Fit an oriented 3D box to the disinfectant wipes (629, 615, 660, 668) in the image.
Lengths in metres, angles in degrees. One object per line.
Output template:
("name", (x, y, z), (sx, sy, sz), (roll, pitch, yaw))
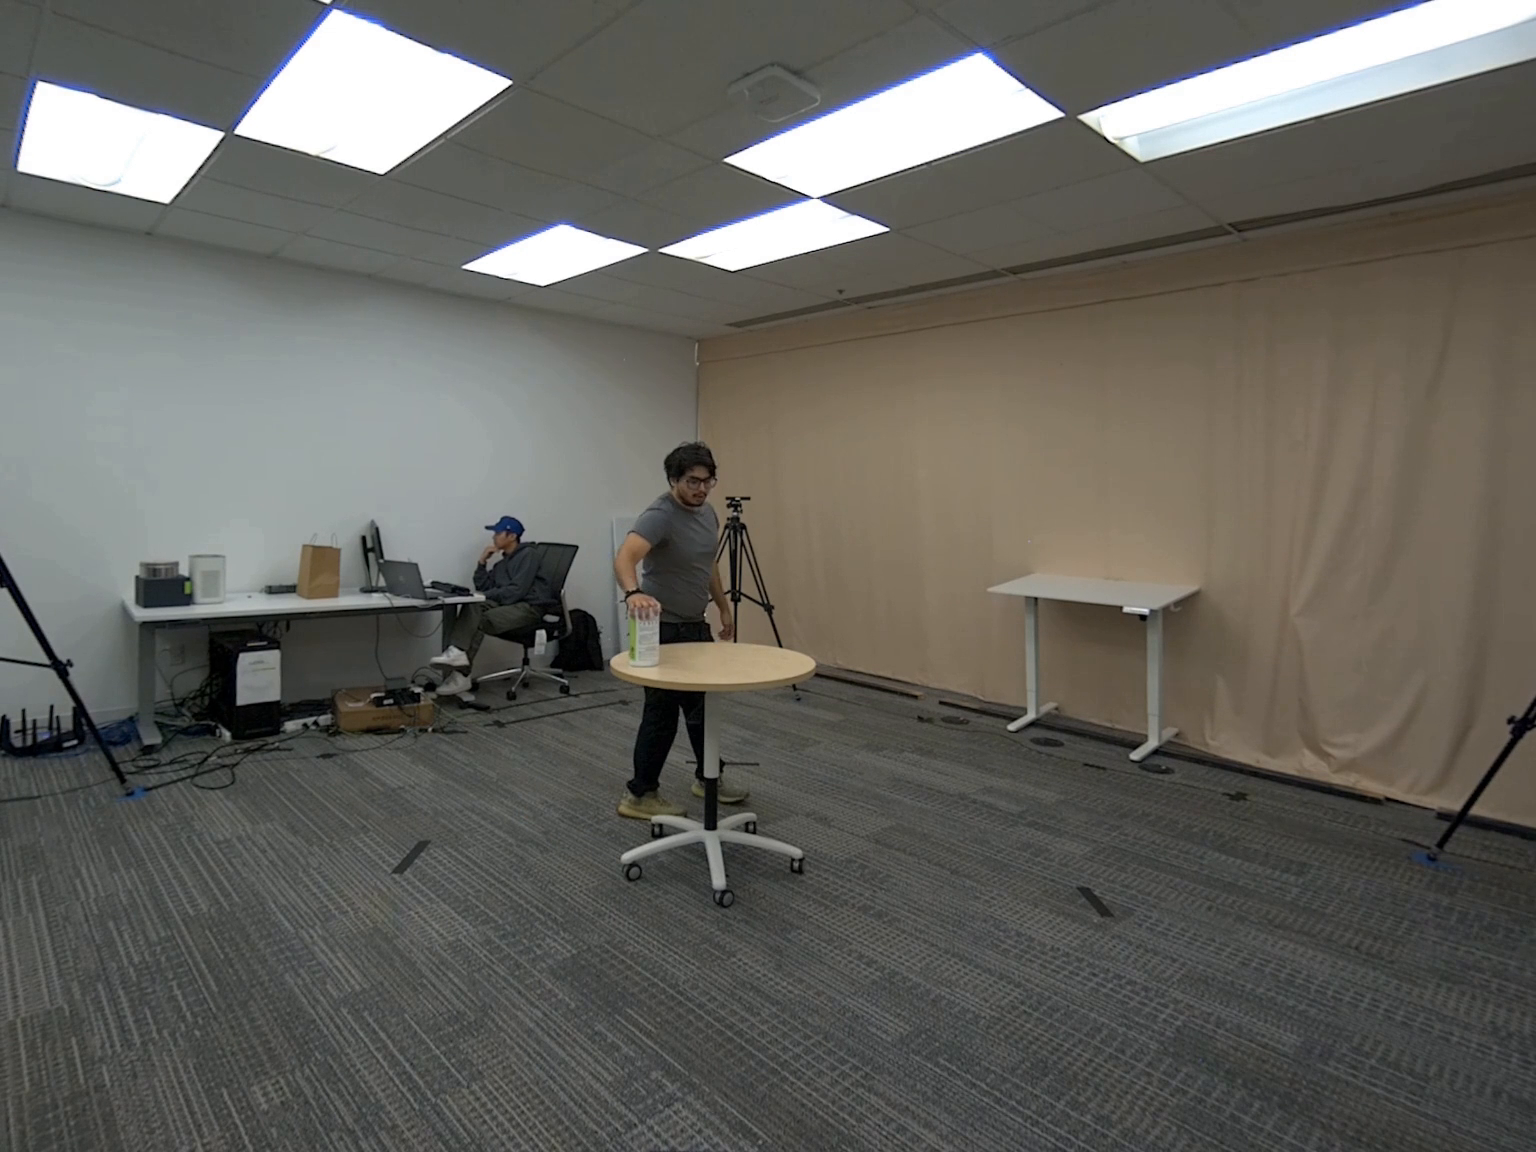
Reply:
("disinfectant wipes", (-0.463, 0.220, 3.066), (0.118, 0.217, 0.118), (-2, 2, -1))
